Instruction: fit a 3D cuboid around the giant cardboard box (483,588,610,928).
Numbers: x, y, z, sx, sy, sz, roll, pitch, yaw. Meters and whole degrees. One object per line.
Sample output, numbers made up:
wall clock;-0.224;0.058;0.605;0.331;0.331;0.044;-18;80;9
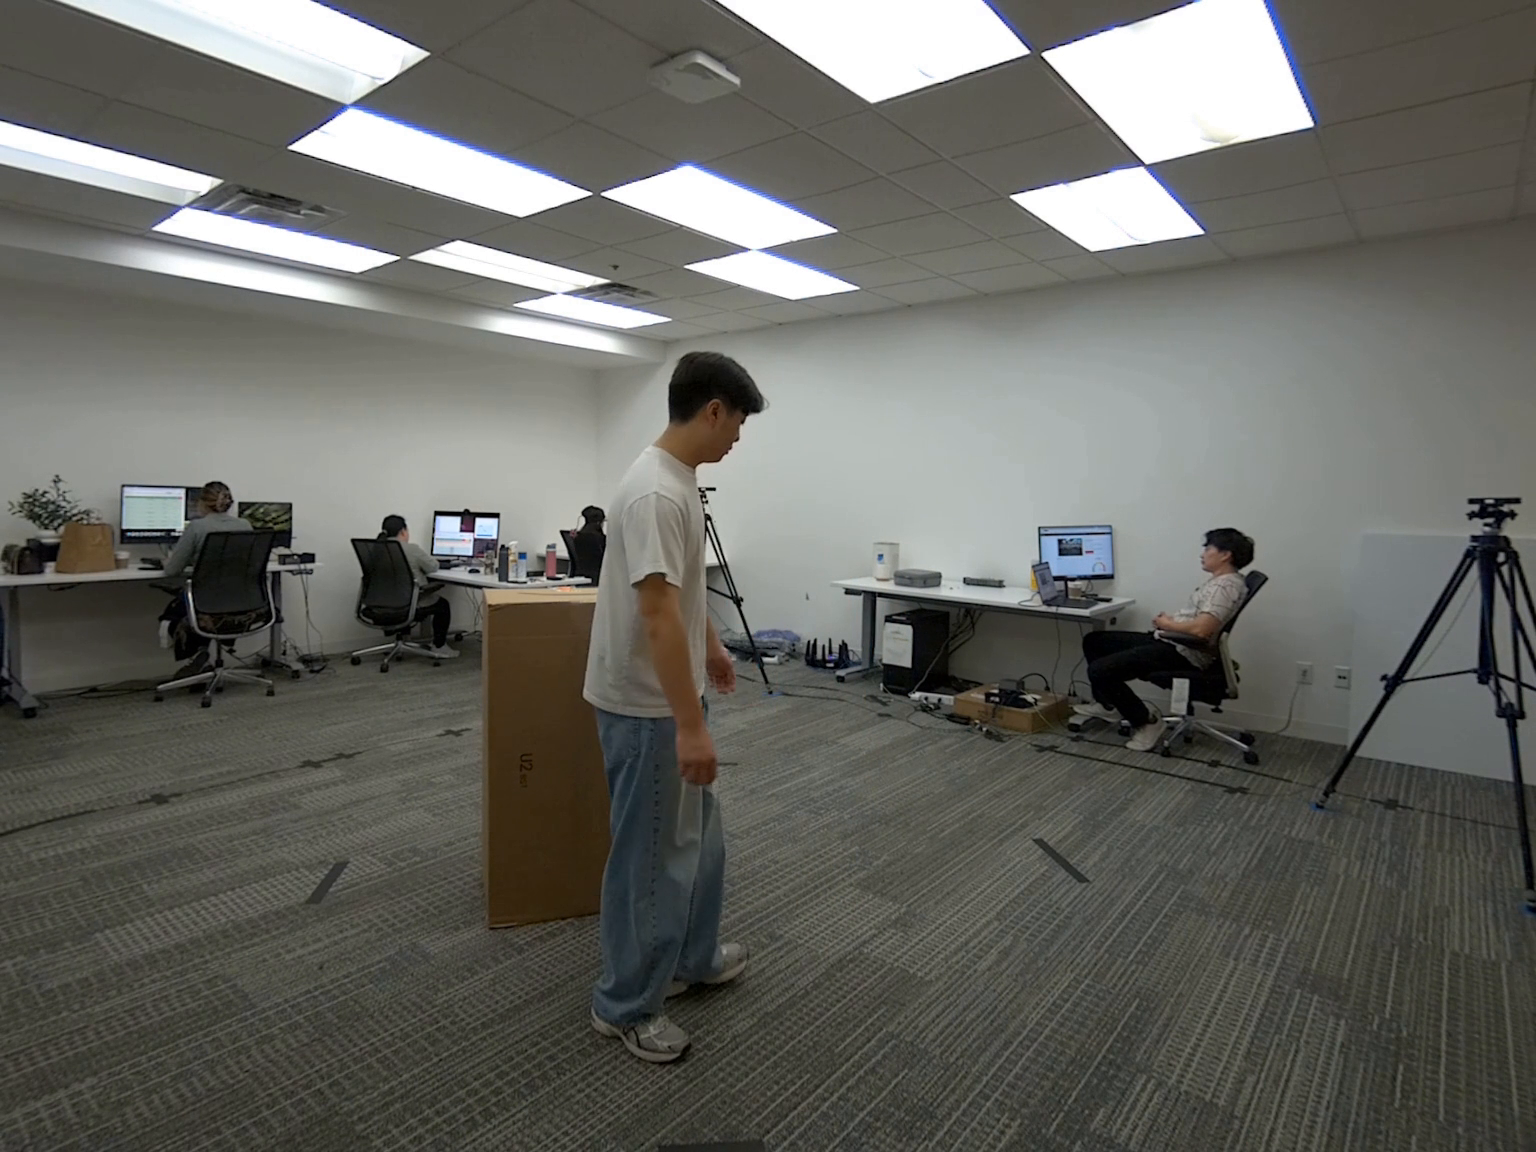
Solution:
giant cardboard box;-0.690;0.568;2.915;0.566;1.023;0.436;-1;3;-21
